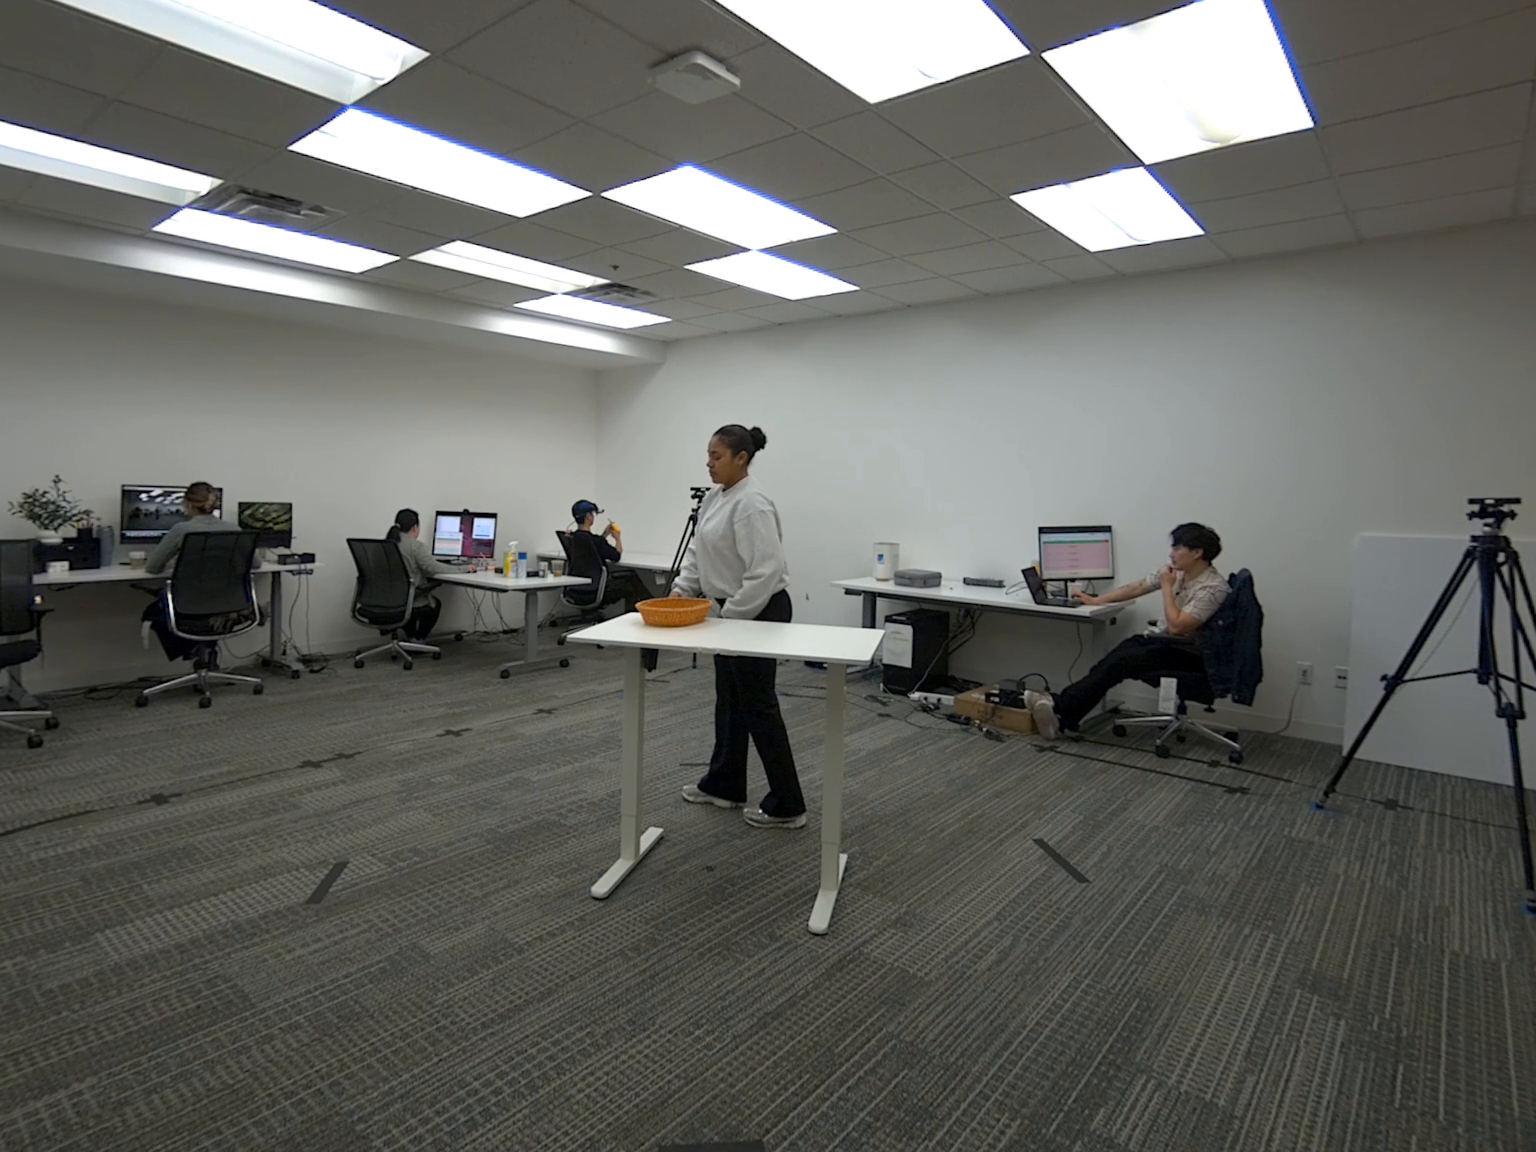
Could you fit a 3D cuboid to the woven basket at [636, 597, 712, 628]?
[{"bbox_3d":[-0.370,0.138,3.209,0.259,0.073,0.343,5,6,22],"label":"woven basket"}]
